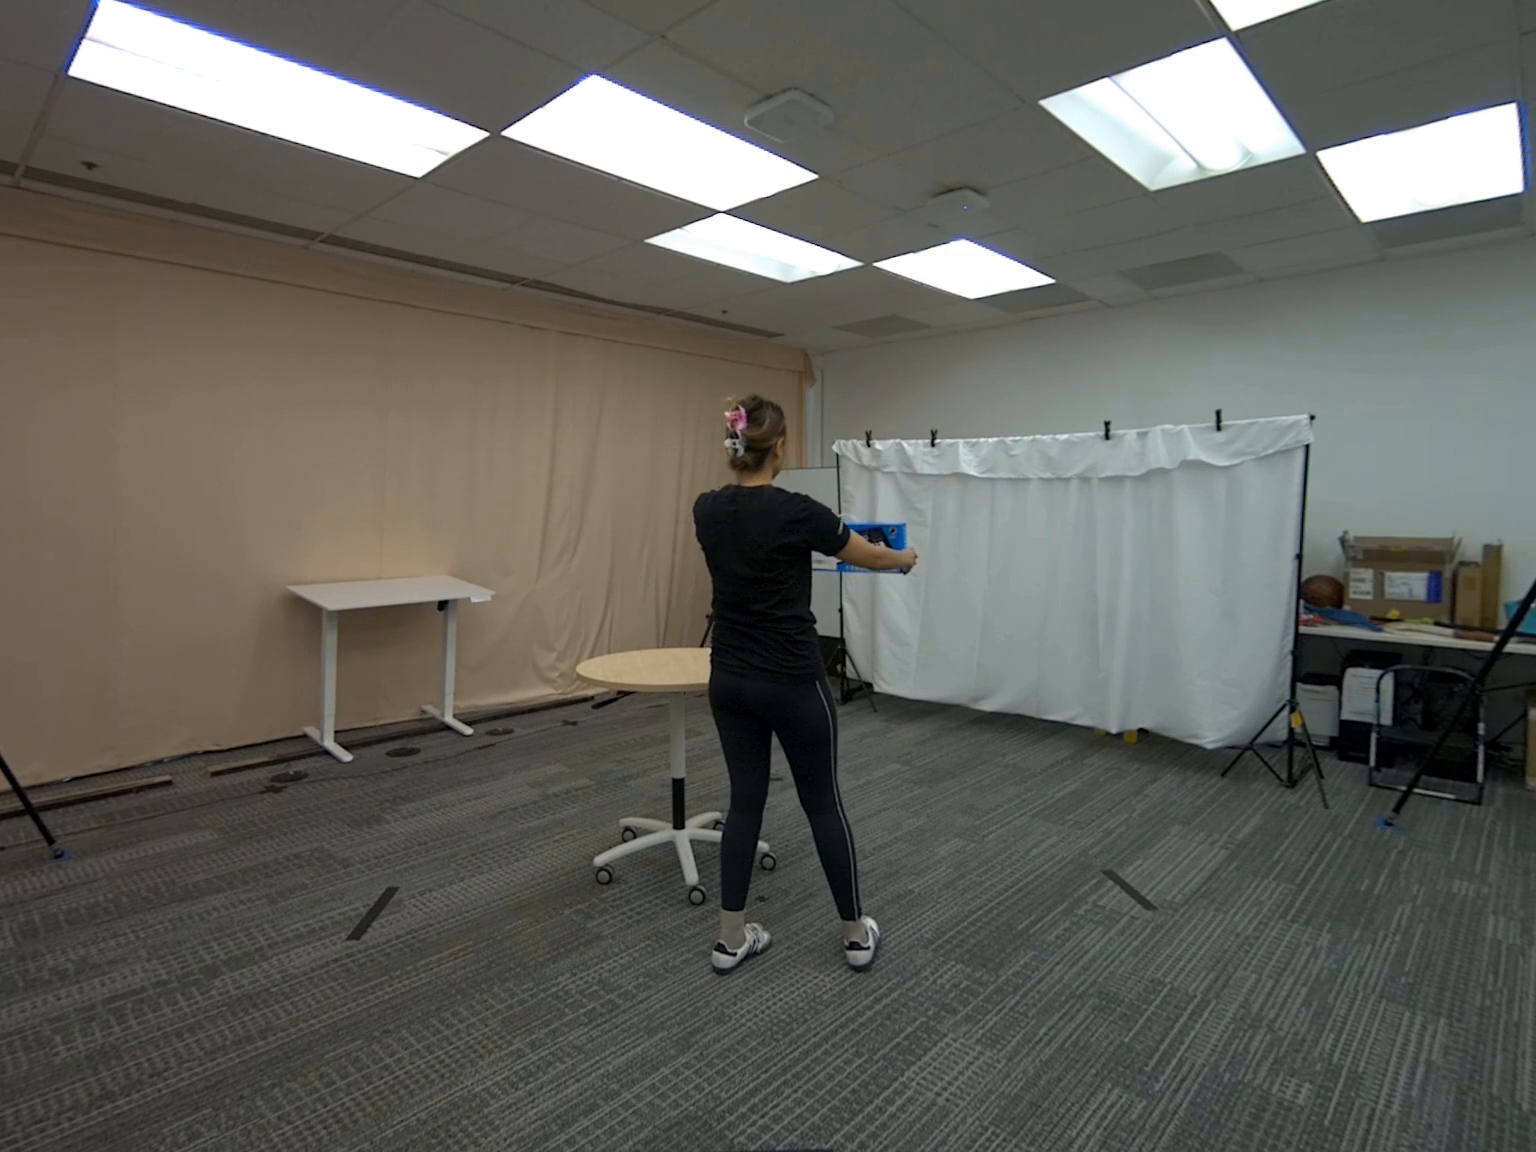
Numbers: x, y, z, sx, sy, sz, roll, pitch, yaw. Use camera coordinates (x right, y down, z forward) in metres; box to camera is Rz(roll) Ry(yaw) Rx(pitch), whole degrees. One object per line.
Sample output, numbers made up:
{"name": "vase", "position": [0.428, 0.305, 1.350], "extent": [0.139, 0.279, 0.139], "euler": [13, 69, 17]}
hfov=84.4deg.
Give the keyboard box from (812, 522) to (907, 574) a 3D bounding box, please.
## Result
{"name": "keyboard box", "position": [0.282, -0.102, 2.992], "extent": [0.450, 0.175, 0.057], "euler": [2, 6, 32]}
